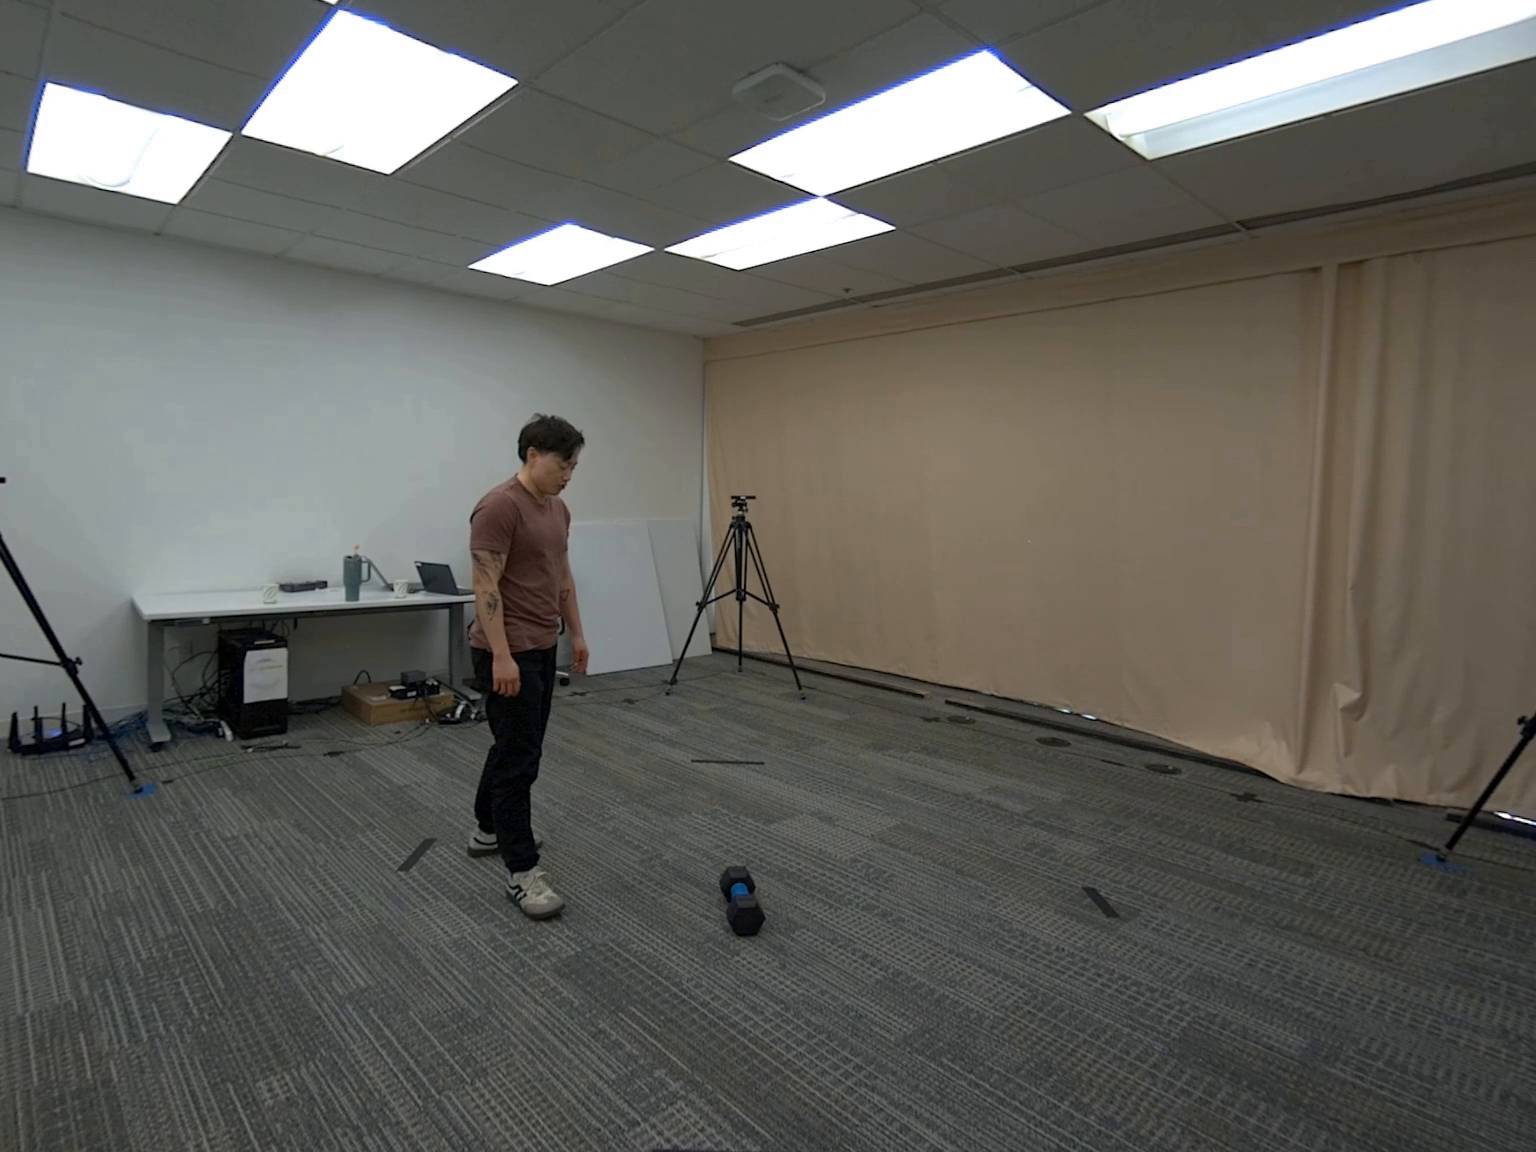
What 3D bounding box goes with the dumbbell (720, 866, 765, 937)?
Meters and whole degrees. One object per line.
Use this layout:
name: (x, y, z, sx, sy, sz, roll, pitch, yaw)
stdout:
dumbbell: (-0.096, 1.079, 2.801, 0.108, 0.122, 0.296, -29, 9, -5)
